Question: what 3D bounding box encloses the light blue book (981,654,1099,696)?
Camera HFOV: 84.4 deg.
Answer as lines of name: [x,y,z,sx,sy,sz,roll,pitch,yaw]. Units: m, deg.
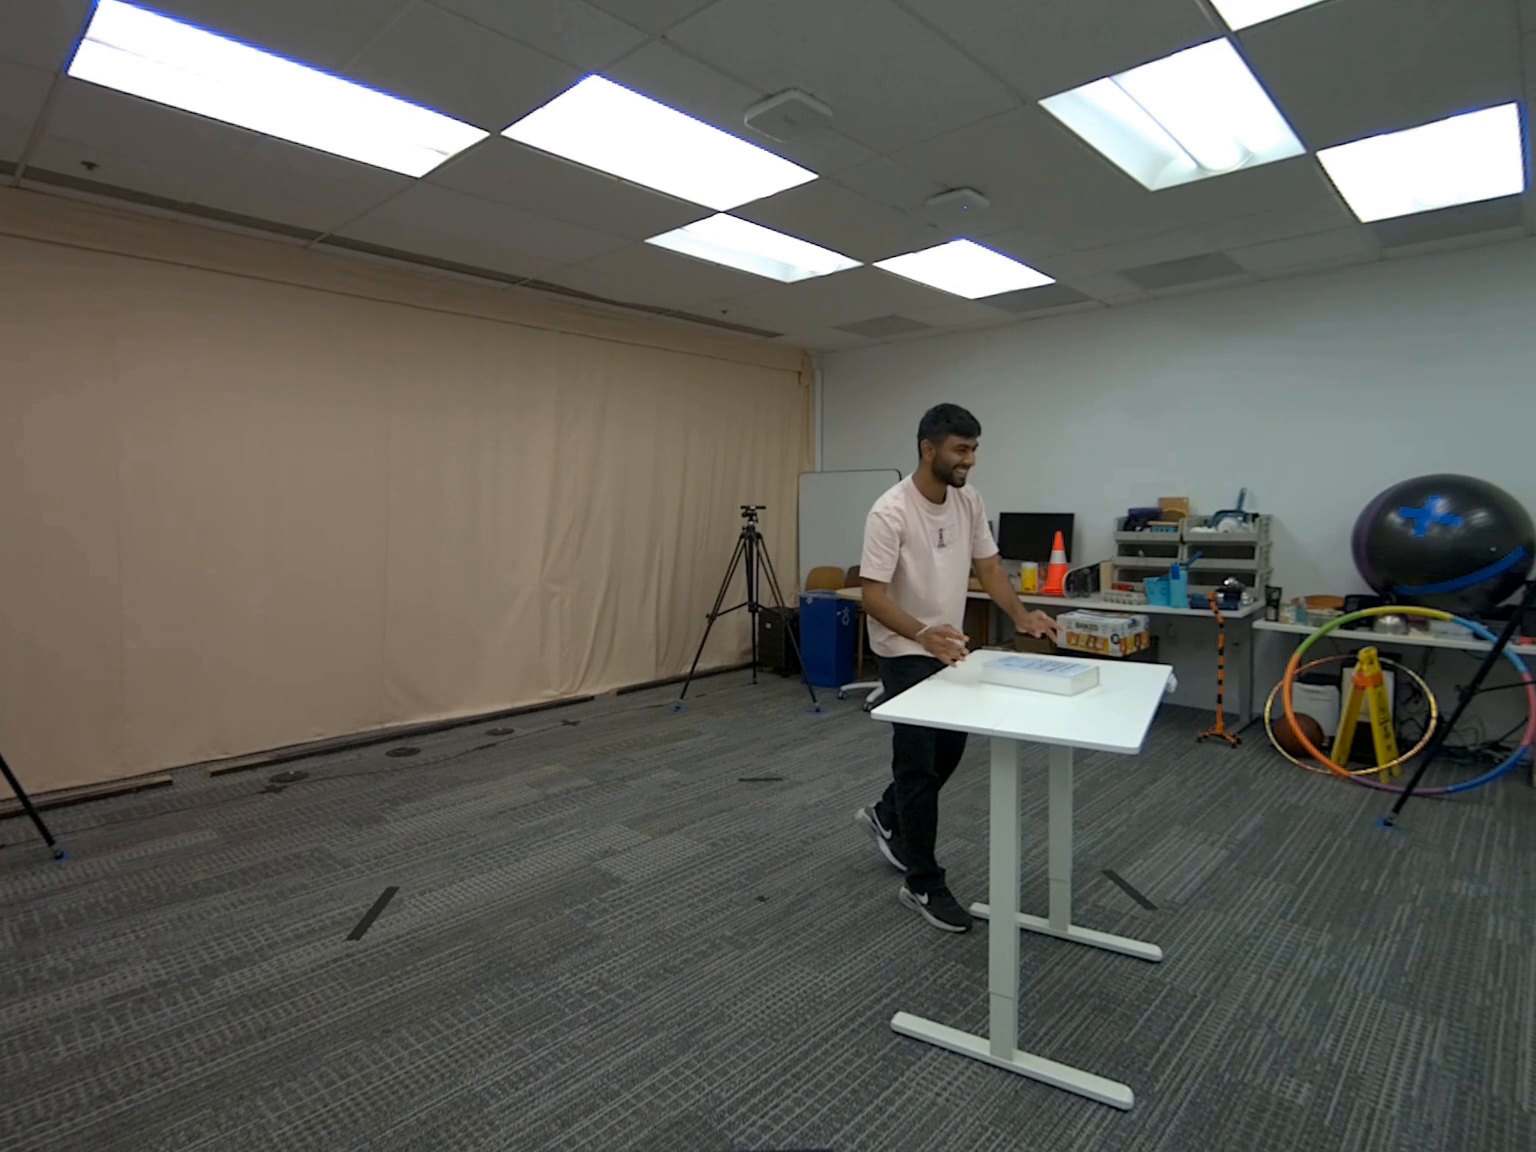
light blue book: [0.772,0.277,2.390,0.270,0.059,0.185,5,7,44]
